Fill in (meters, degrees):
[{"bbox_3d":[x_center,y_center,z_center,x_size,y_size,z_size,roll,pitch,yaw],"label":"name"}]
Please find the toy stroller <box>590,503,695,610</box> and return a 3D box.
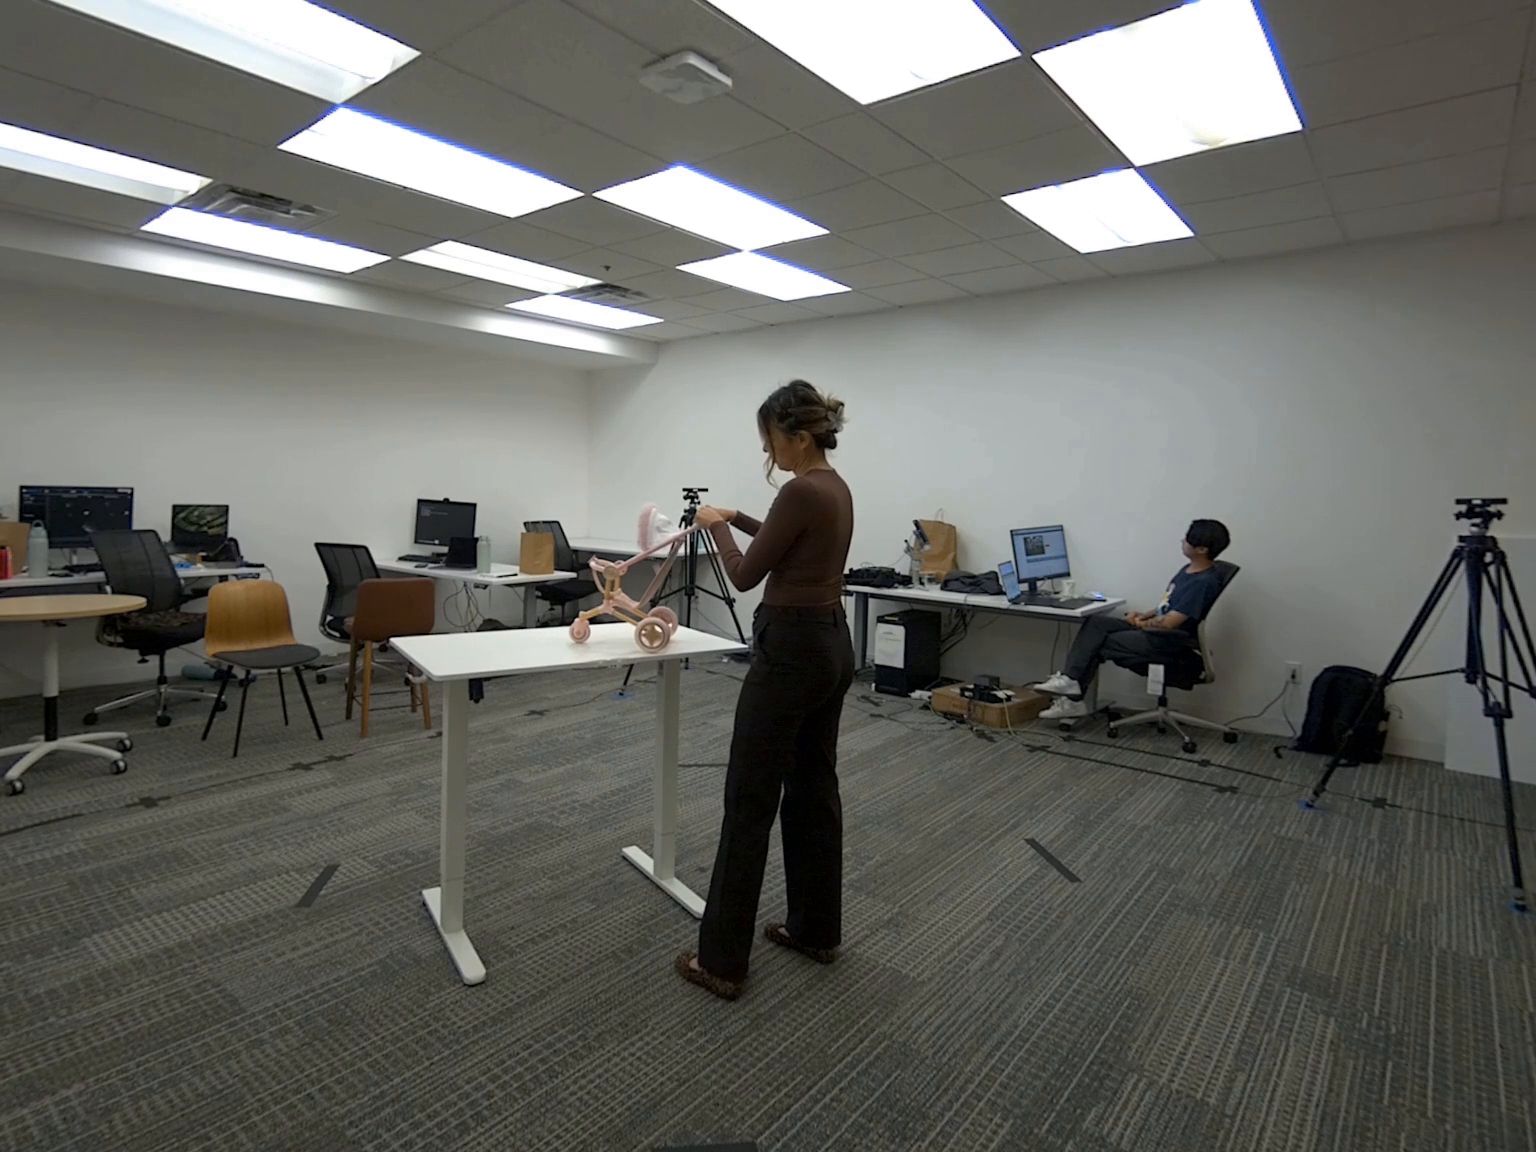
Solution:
[{"bbox_3d":[-0.434,0.003,2.738,0.344,0.533,0.280,16,4,6],"label":"toy stroller"}]
